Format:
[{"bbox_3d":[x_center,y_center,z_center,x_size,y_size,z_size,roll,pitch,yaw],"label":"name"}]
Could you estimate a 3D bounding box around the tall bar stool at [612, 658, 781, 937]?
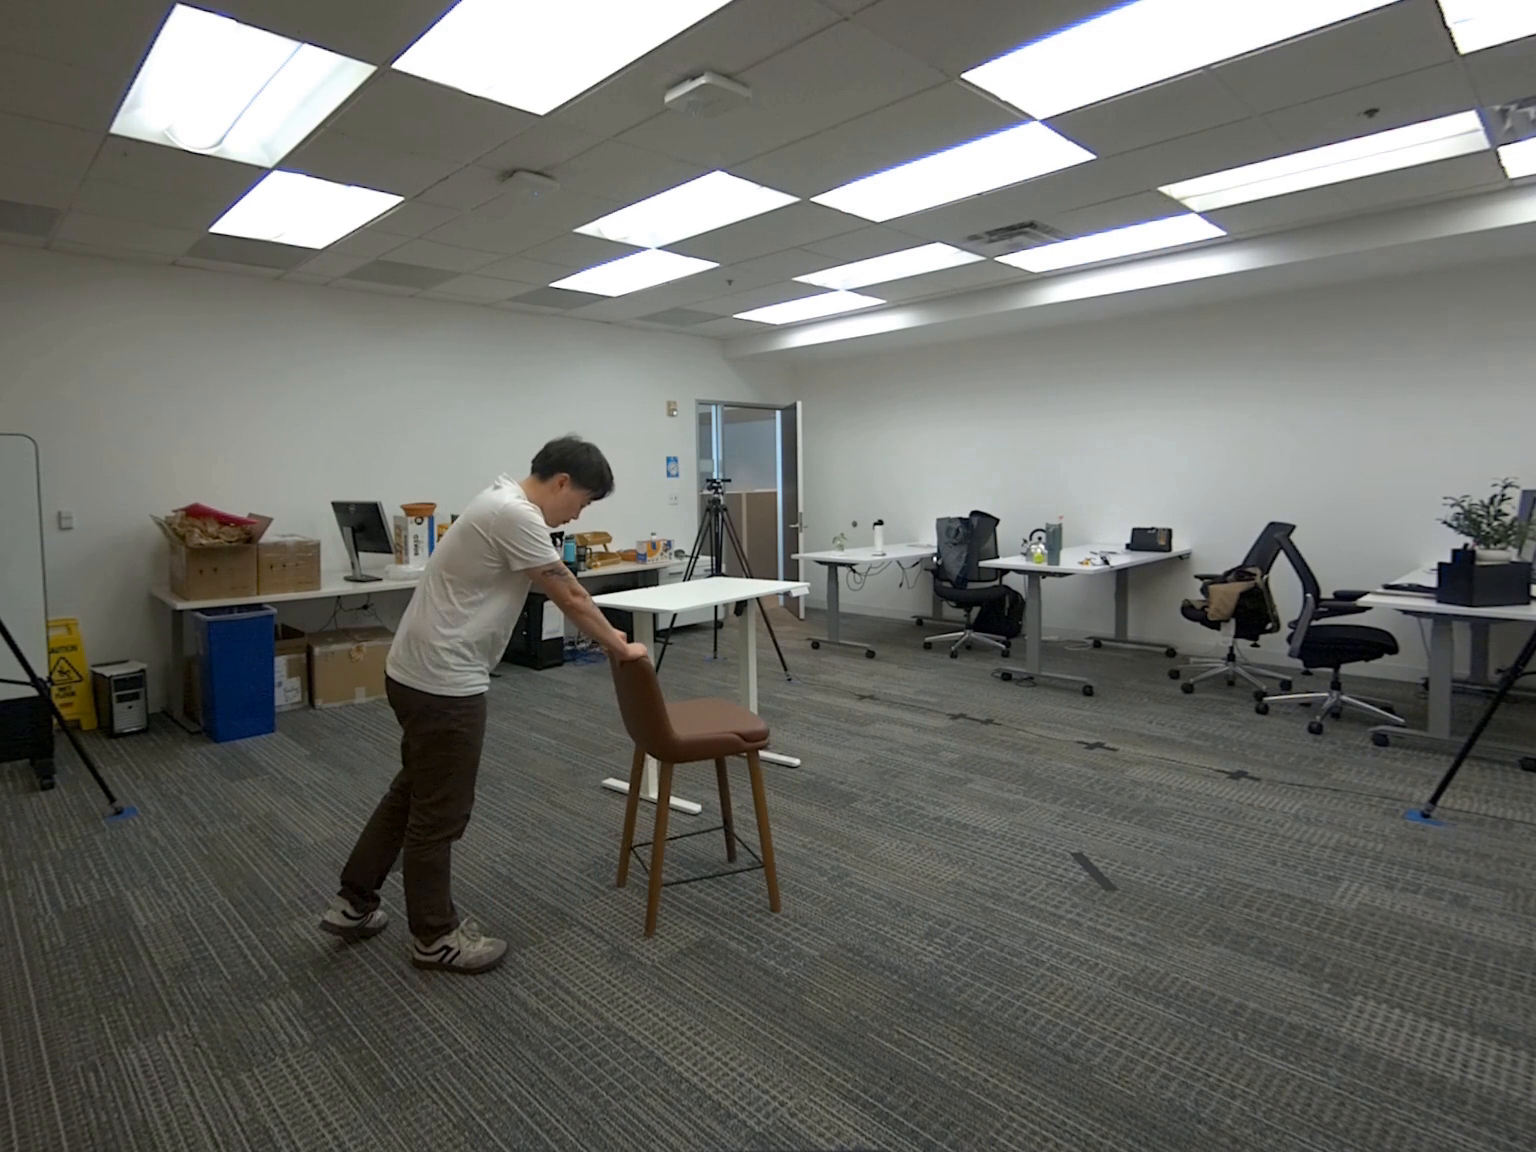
[{"bbox_3d":[-0.261,0.646,2.842,0.459,0.886,0.467,-5,5,-24],"label":"tall bar stool"}]
